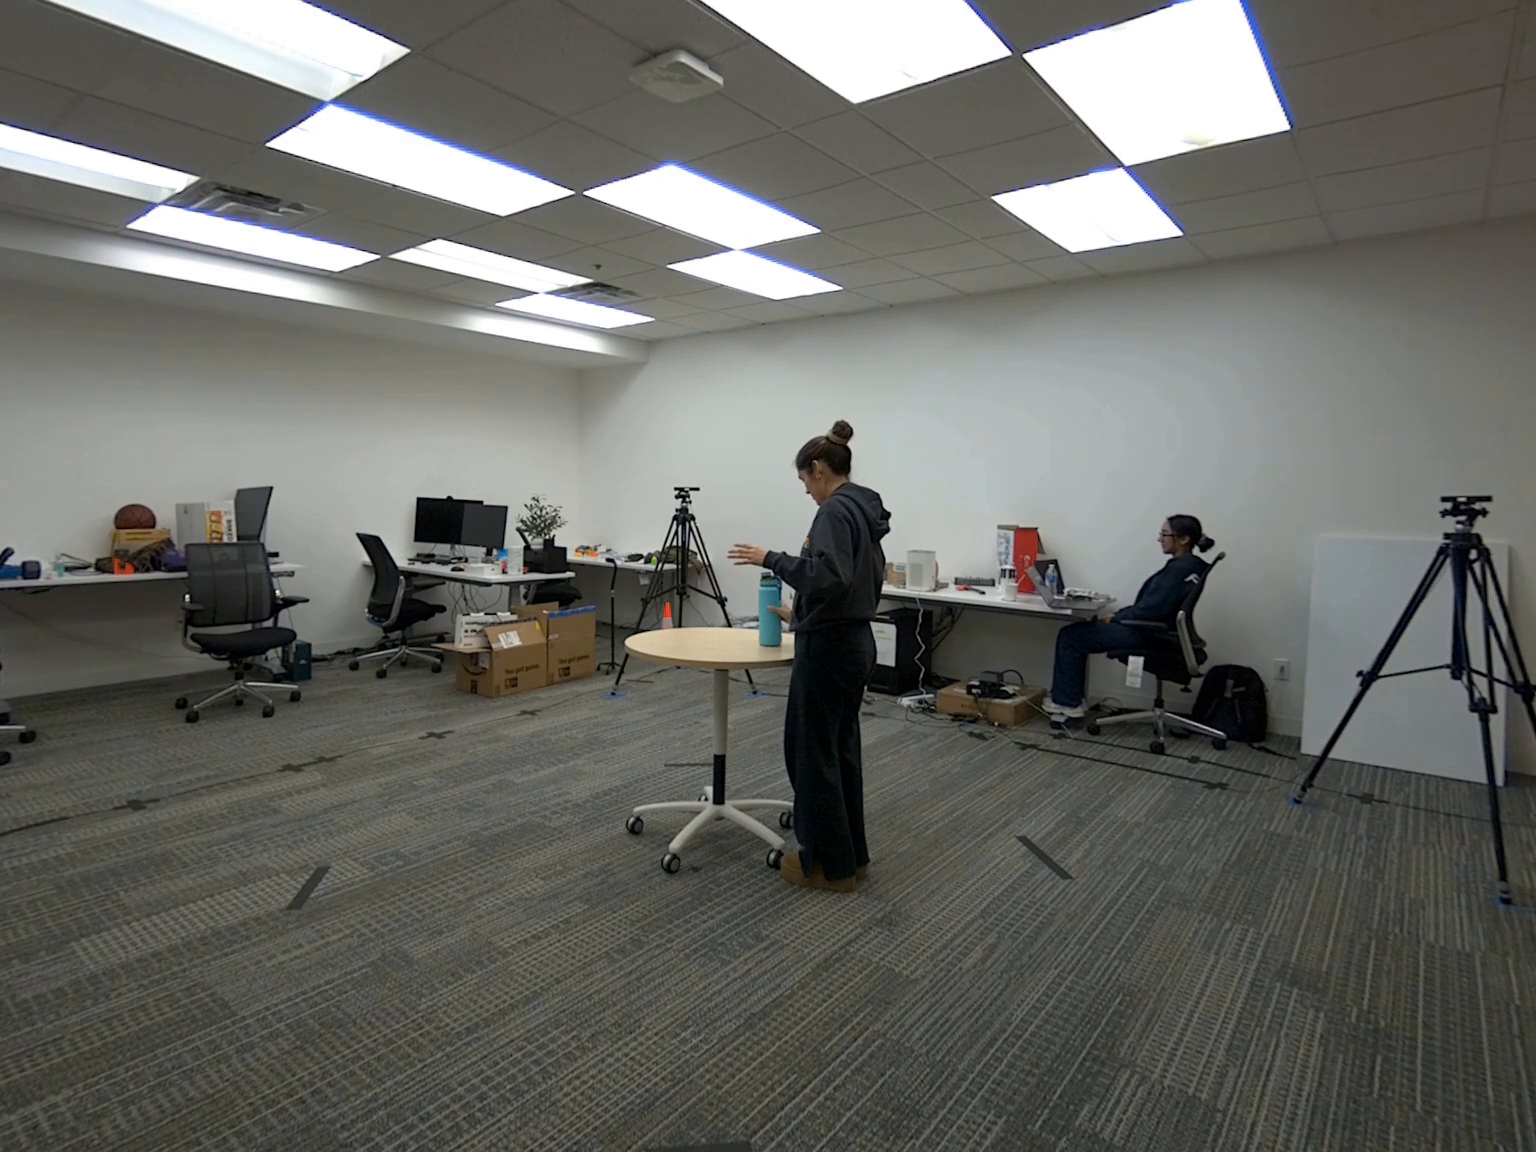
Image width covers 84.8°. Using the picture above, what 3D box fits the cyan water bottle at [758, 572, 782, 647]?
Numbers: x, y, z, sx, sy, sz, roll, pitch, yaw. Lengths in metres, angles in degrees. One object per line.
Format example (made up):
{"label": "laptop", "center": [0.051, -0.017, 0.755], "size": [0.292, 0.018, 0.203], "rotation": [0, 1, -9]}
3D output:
{"label": "cyan water bottle", "center": [0.007, 0.122, 3.345], "size": [0.092, 0.283, 0.092], "rotation": [1, 0, -2]}
